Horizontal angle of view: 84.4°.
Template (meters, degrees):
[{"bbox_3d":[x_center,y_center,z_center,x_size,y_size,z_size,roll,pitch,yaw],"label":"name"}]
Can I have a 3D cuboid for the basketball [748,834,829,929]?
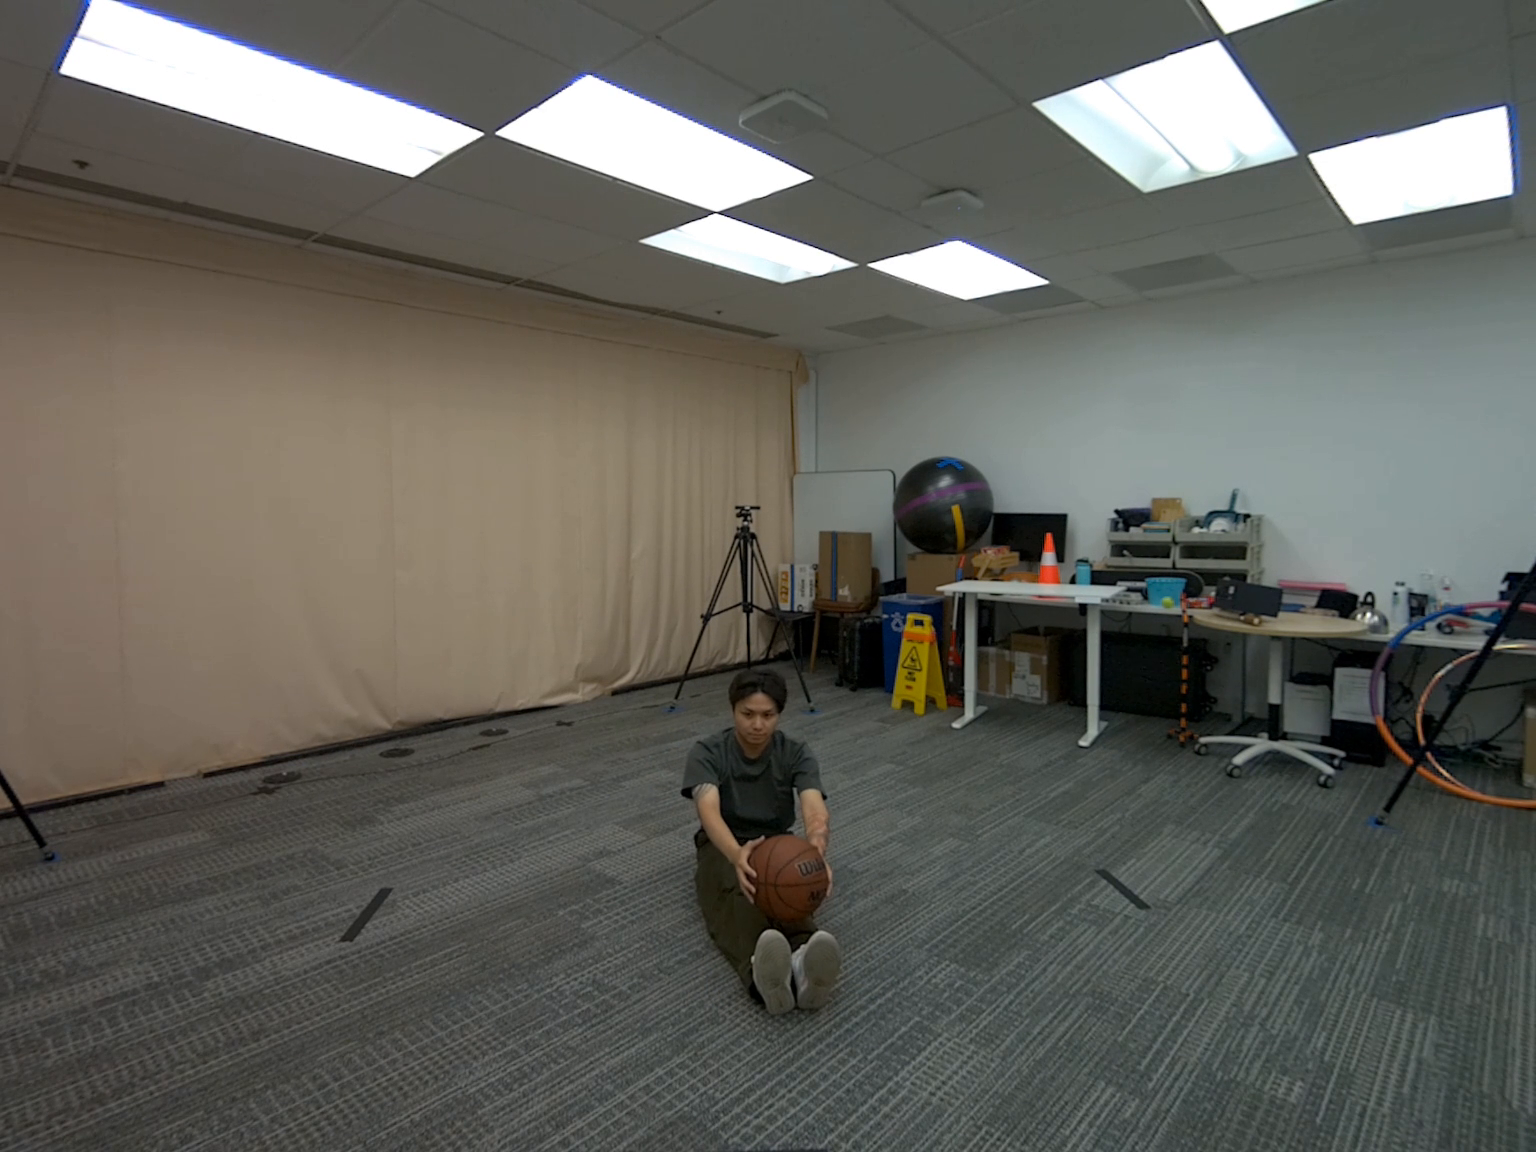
[{"bbox_3d":[0.064,0.876,2.466,0.236,0.235,0.237,0,4,-2],"label":"basketball"}]
